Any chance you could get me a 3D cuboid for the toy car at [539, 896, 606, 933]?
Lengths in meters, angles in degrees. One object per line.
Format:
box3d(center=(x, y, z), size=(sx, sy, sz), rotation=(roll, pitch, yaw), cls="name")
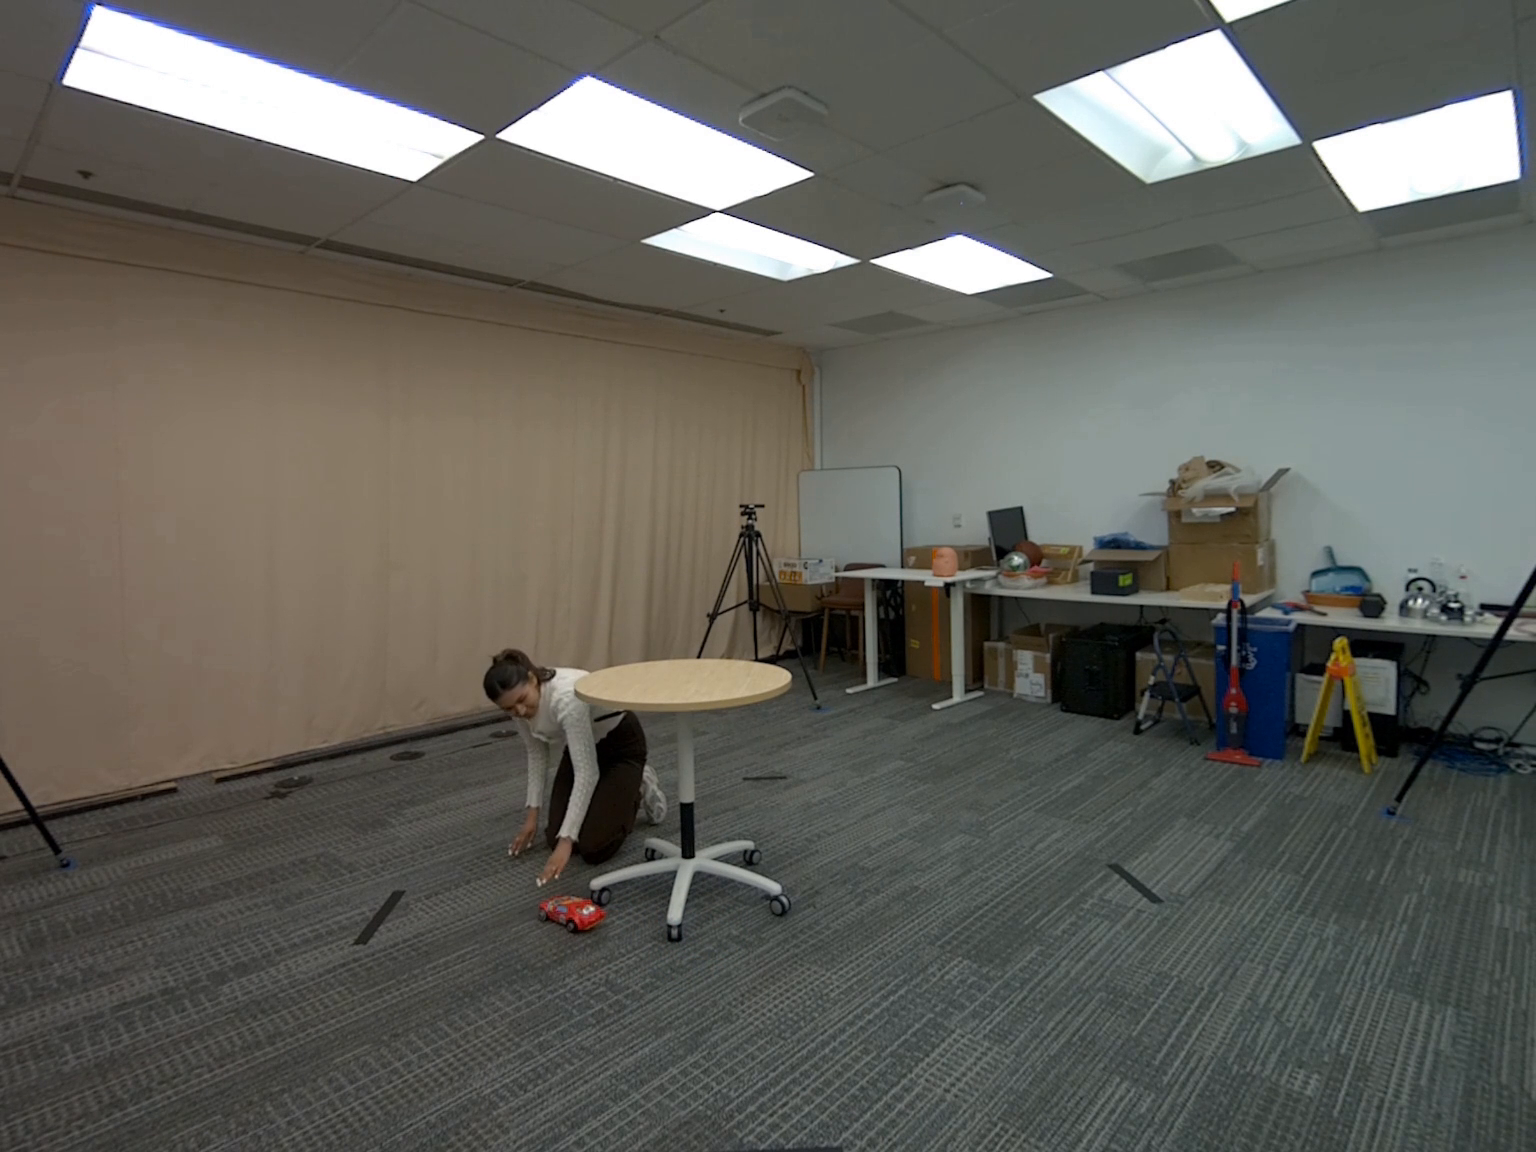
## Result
box3d(center=(-0.658, 1.133, 2.836), size=(0.261, 0.083, 0.126), rotation=(-11, -3, 37), cls="toy car")
